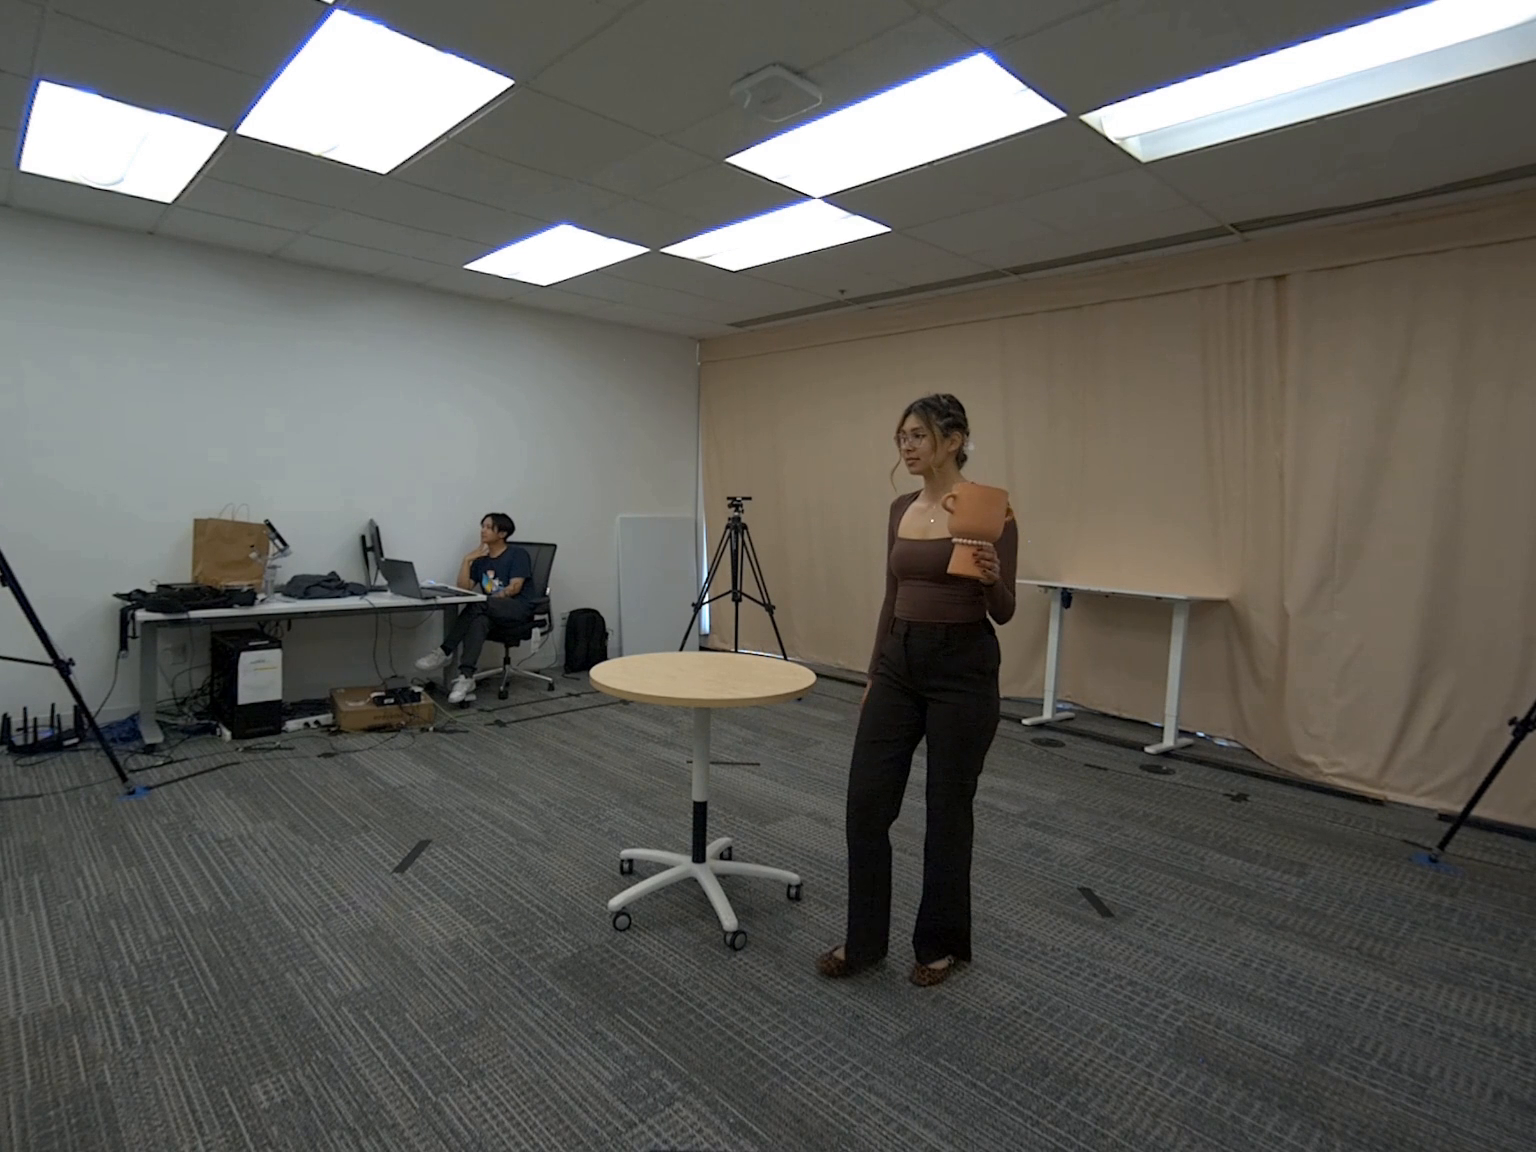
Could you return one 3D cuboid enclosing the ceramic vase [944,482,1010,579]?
[{"bbox_3d":[0.499,-0.109,2.069,0.162,0.220,0.132,8,-3,23],"label":"ceramic vase"}]
